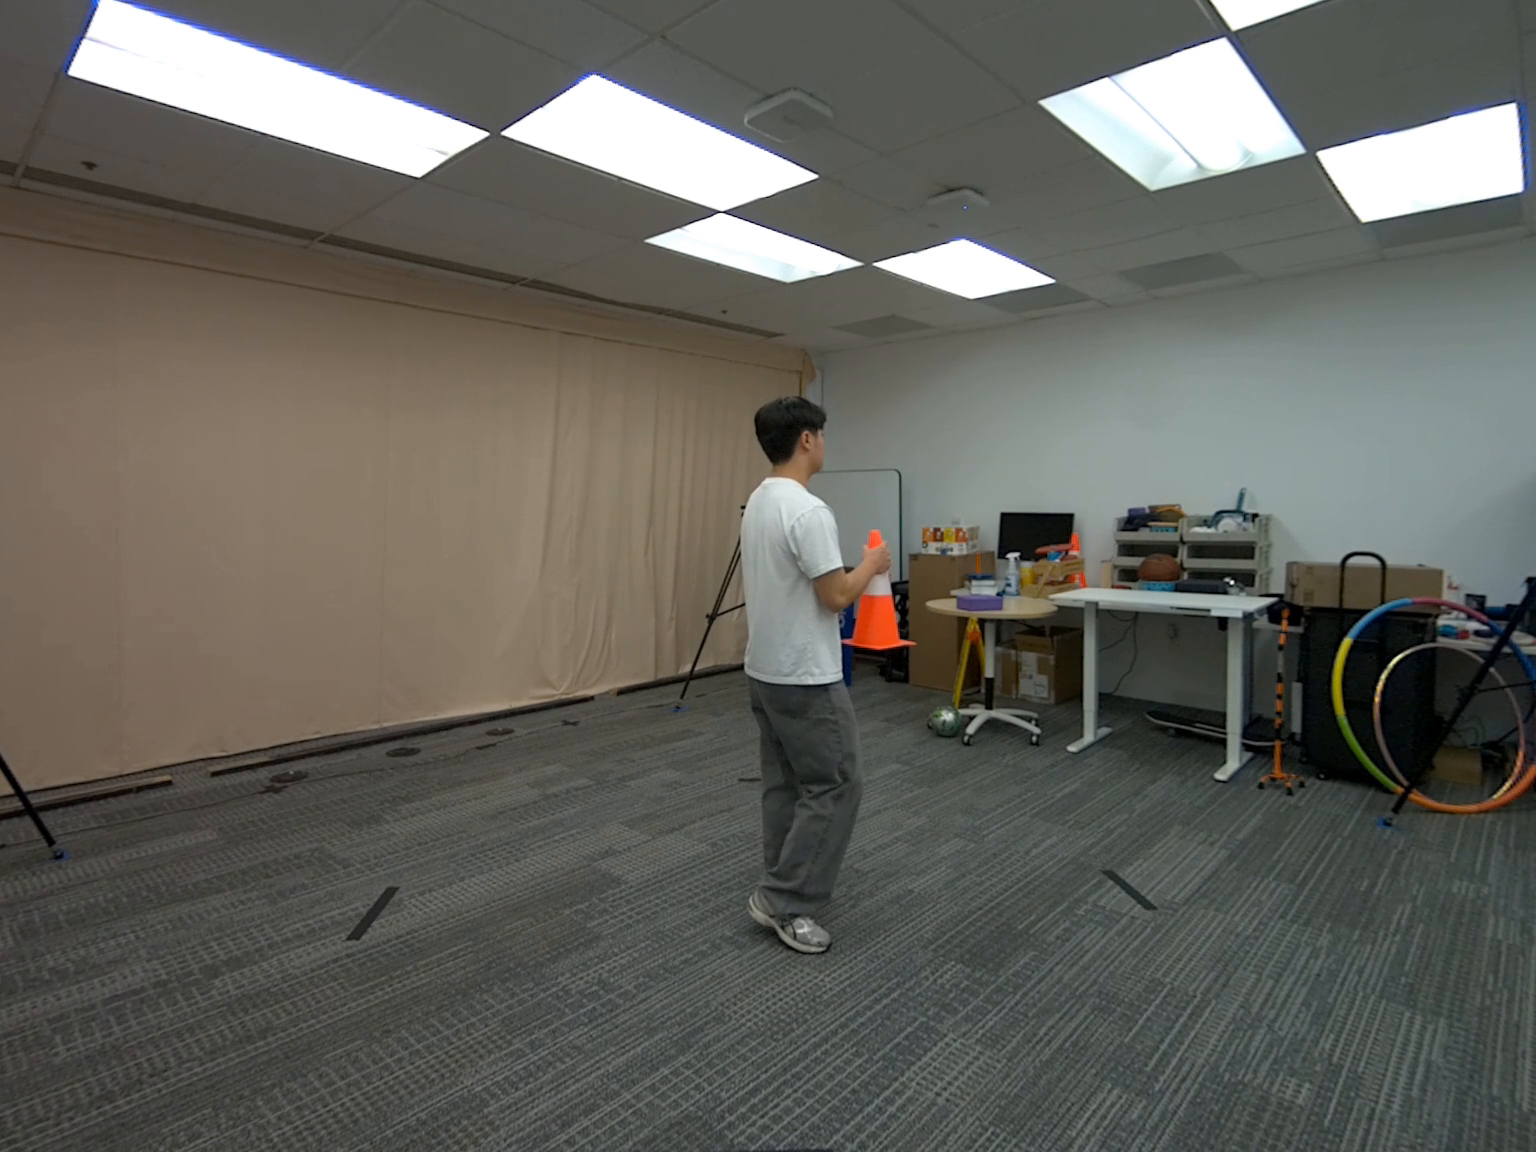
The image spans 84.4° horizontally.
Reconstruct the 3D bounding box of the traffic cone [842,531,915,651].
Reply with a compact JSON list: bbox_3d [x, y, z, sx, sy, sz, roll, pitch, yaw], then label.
[{"bbox_3d":[0.379,0.047,2.833,0.198,0.382,0.211,-3,8,-31],"label":"traffic cone"}]
